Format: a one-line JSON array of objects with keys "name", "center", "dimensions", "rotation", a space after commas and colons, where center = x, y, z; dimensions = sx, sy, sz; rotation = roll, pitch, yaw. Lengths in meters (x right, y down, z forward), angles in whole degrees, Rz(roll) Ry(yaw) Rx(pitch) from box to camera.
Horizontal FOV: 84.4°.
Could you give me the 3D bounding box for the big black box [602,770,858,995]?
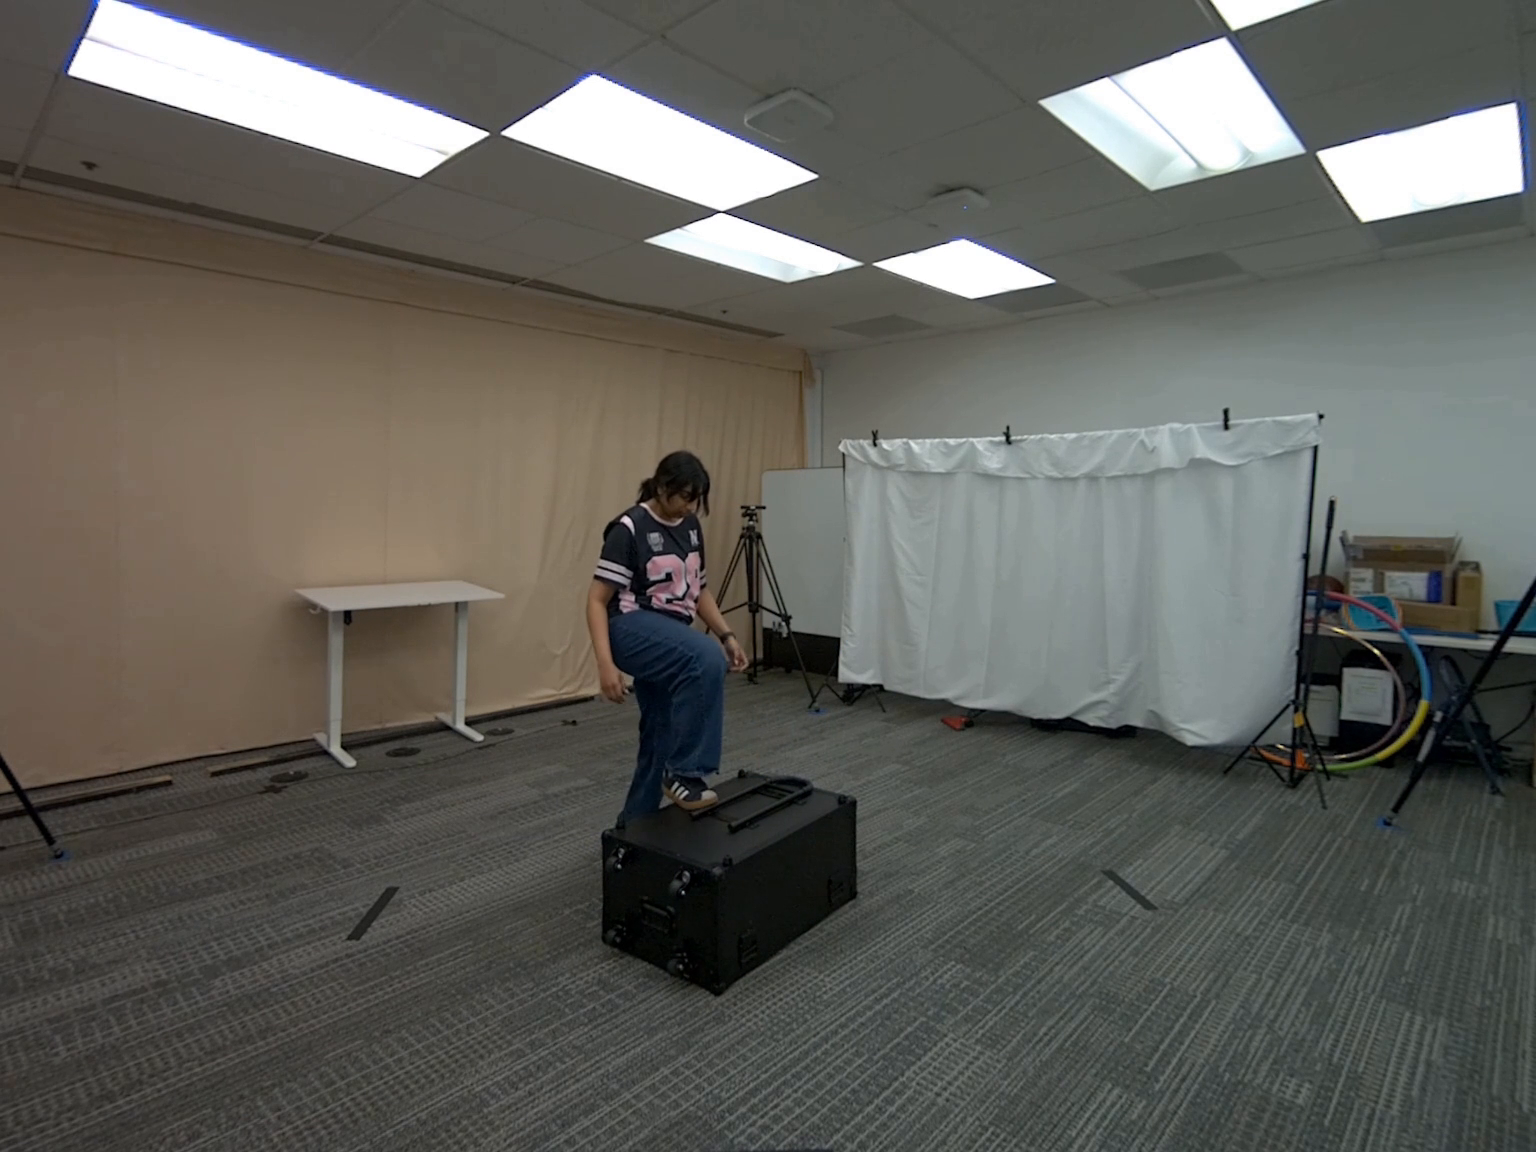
[{"name": "big black box", "center": [-0.118, 0.975, 2.796], "dimensions": [0.540, 0.384, 0.843], "rotation": [4, 7, 37]}]
